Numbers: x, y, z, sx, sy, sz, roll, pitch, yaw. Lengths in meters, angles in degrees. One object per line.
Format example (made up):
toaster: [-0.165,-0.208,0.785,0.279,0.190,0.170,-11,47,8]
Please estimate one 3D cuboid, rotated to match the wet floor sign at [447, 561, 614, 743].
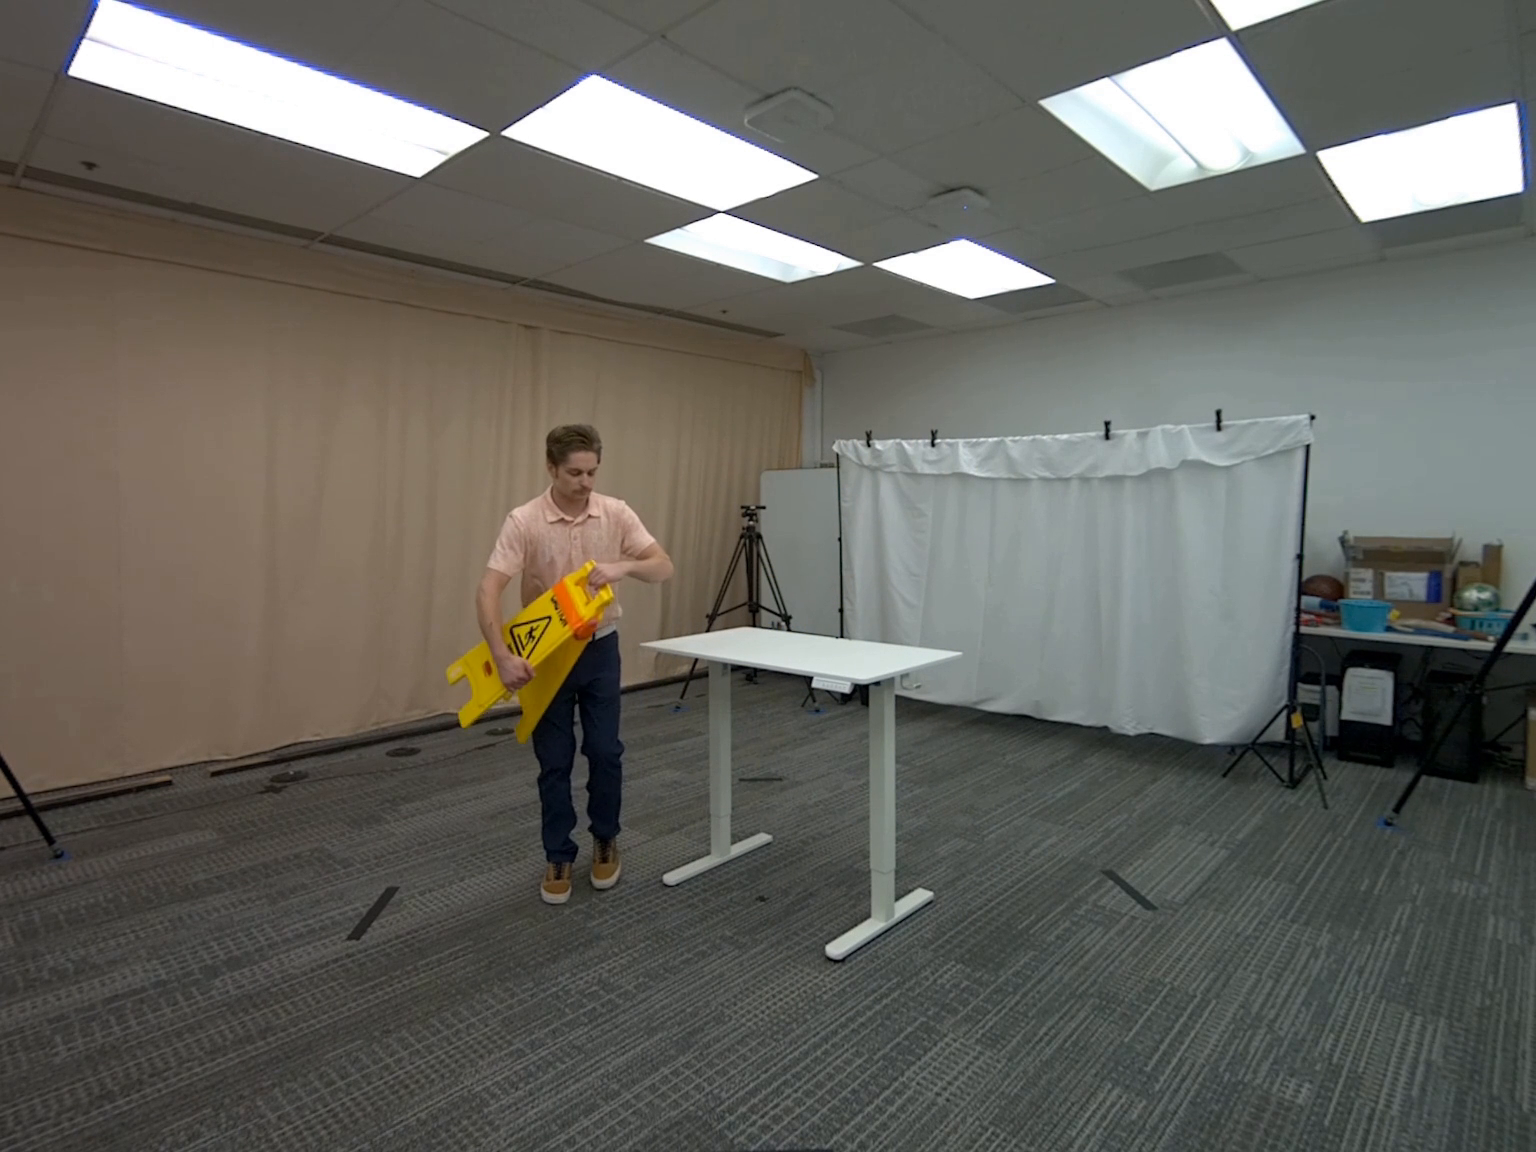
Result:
wet floor sign: [-0.762,0.232,2.872,0.279,0.648,0.292,33,16,-46]
